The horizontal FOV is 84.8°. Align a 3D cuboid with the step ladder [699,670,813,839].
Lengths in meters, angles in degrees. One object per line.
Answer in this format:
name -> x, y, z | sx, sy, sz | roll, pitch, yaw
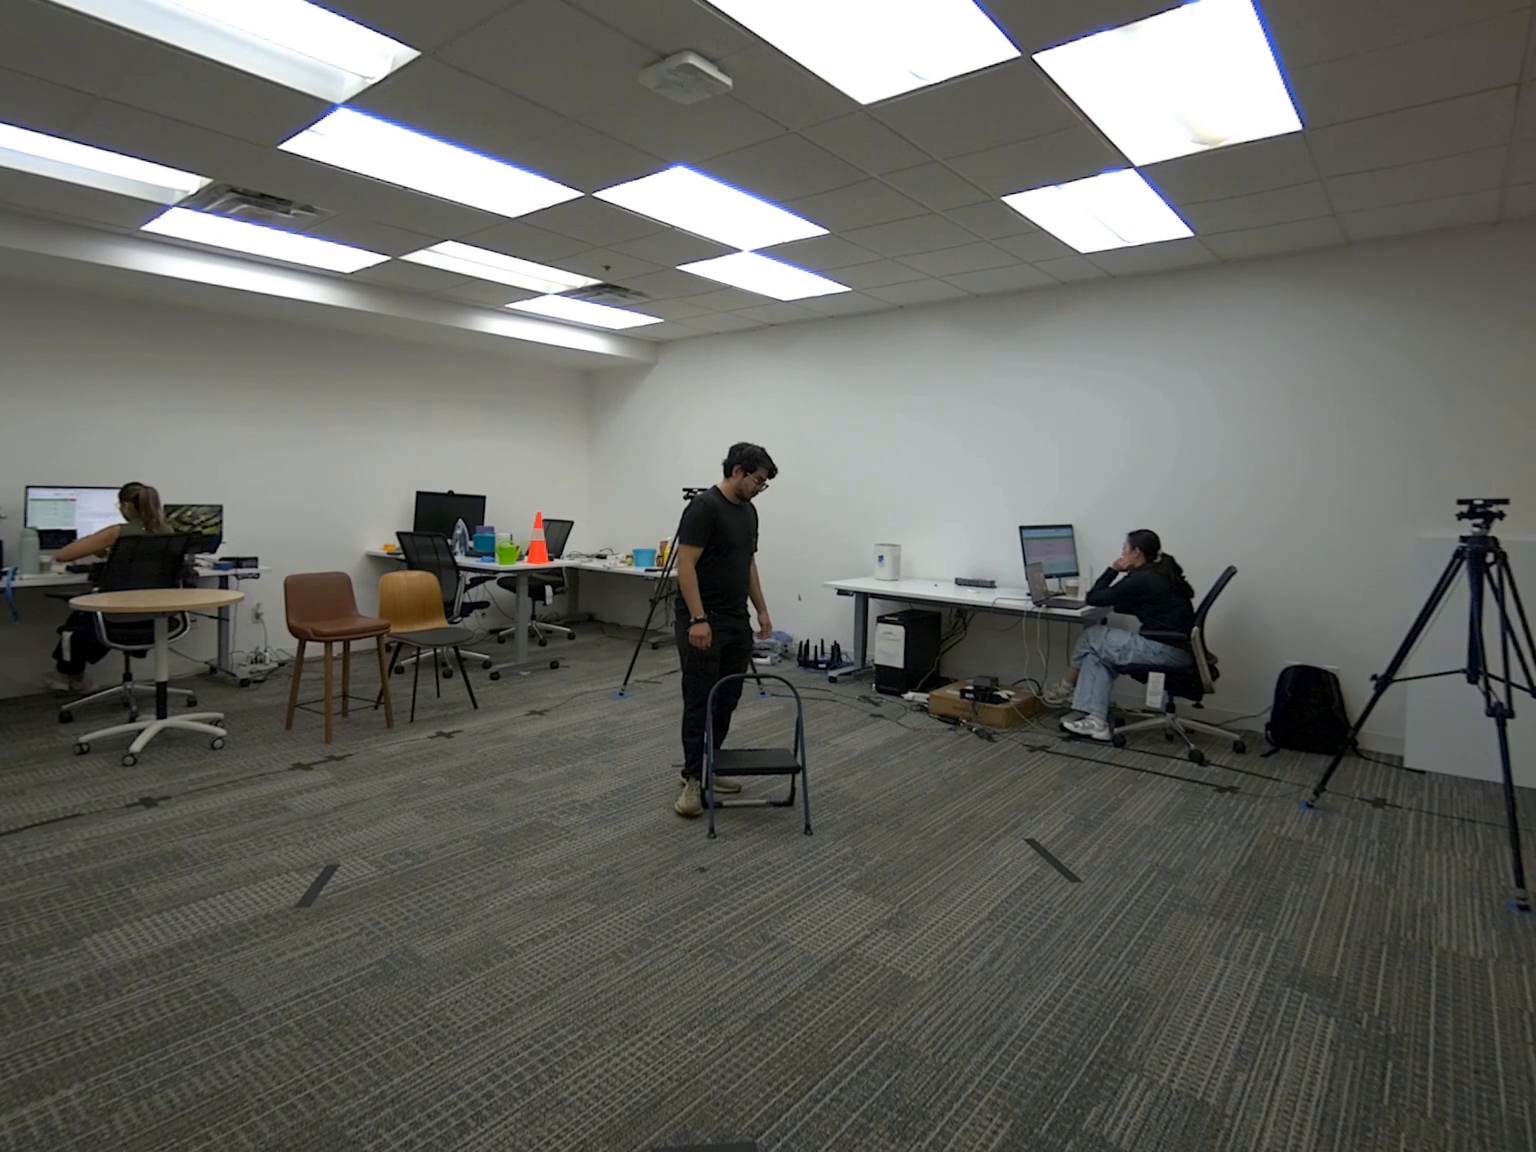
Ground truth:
step ladder -> -0.057, 0.732, 3.570 | 0.426, 0.603, 0.355 | 1, 6, -10
